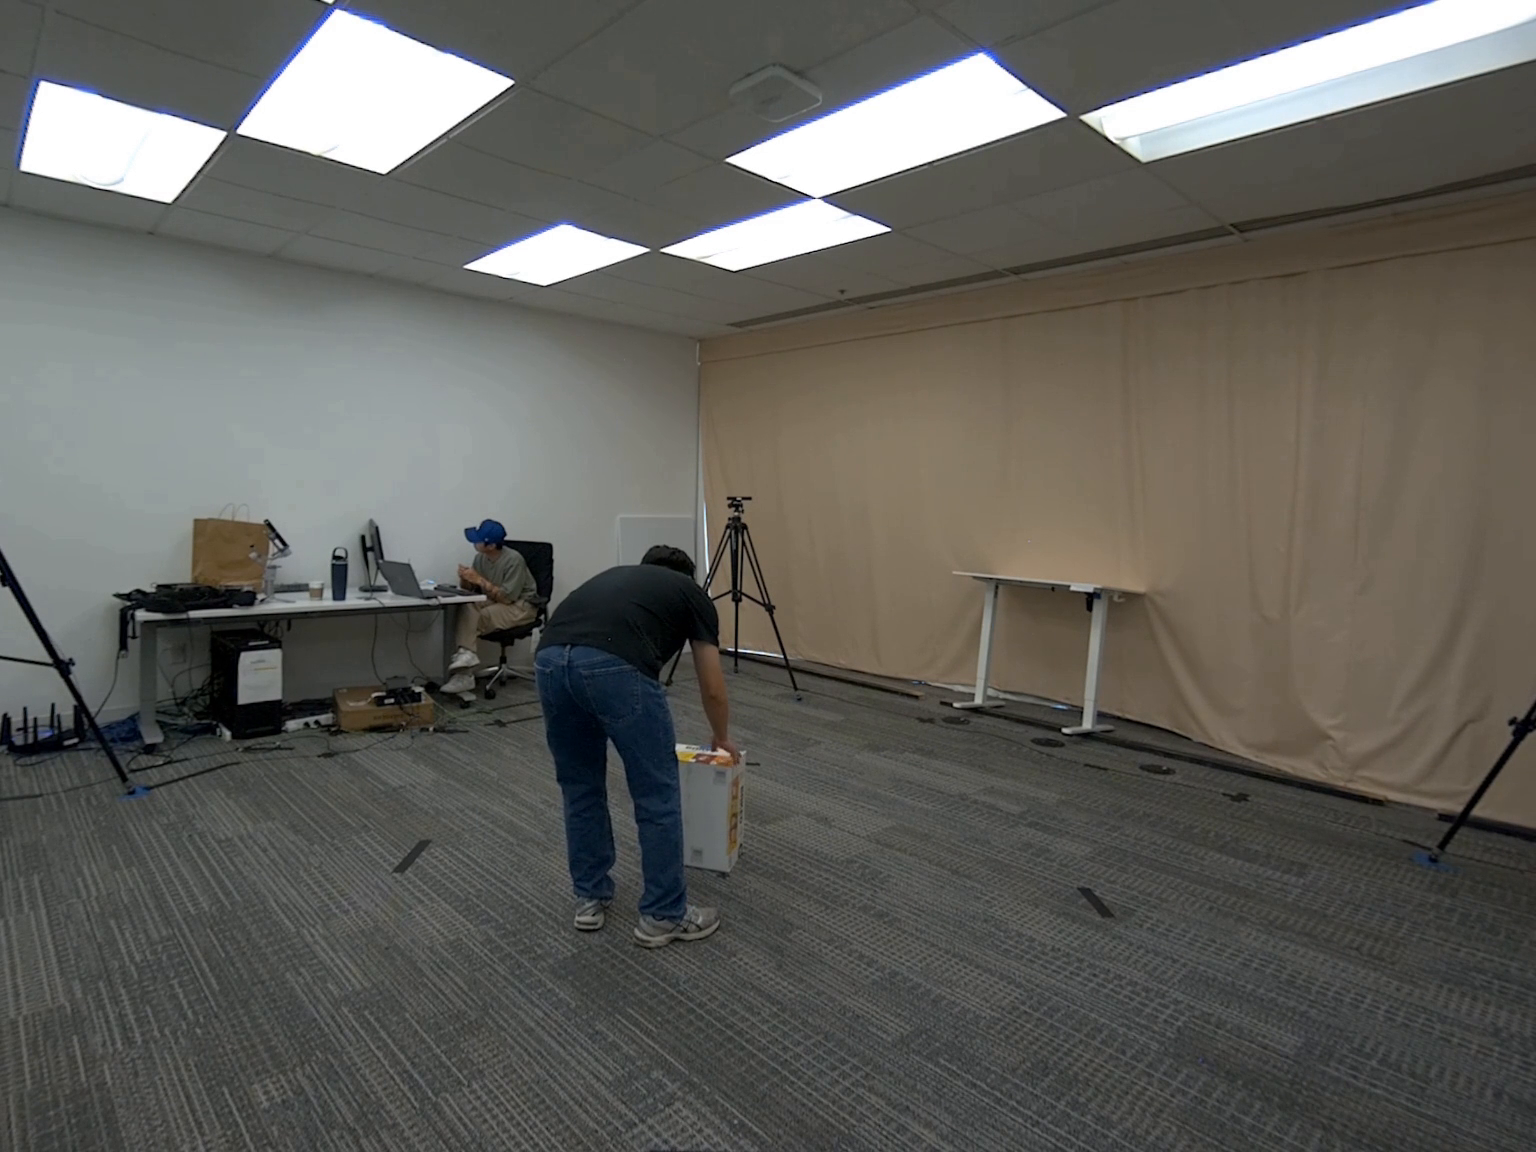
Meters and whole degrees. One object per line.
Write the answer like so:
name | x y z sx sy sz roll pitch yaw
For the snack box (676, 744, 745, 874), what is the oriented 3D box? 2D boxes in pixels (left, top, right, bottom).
snack box | -0.281 0.887 3.256 0.345 0.404 0.203 3 3 16
